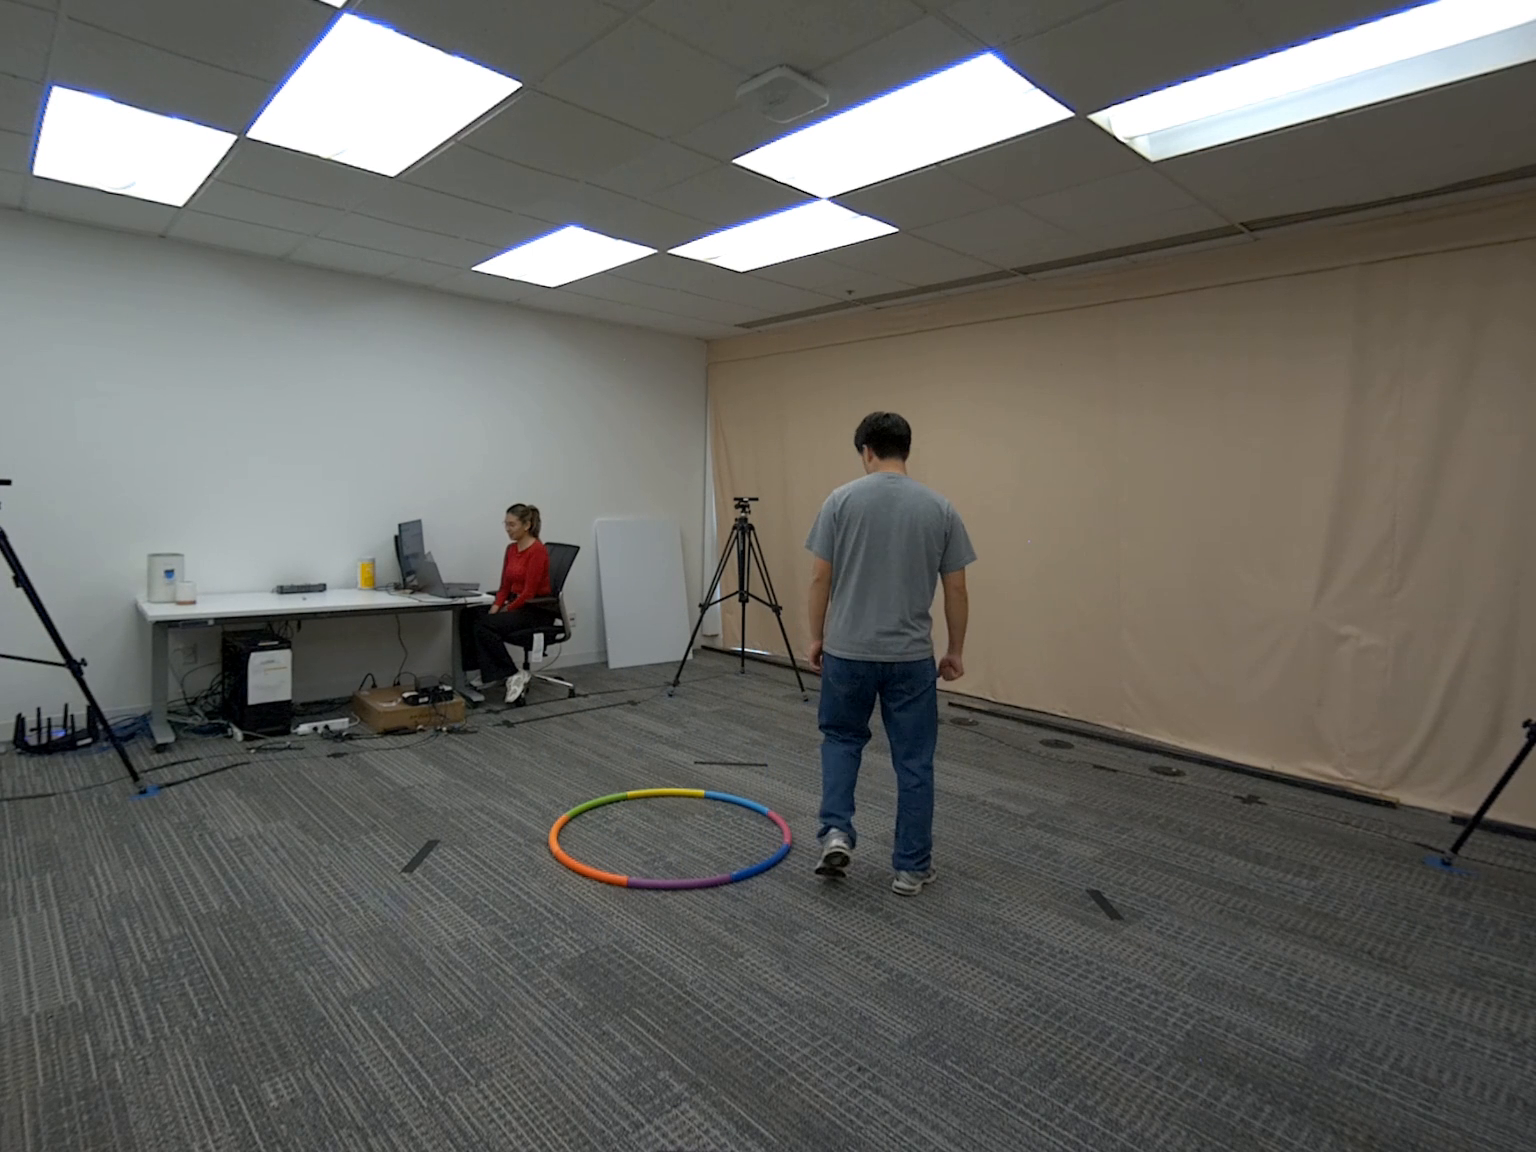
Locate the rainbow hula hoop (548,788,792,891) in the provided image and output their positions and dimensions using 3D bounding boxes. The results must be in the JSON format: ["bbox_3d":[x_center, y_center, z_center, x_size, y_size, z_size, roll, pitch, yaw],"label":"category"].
[{"bbox_3d":[-0.408,1.039,3.465,0.978,0.035,0.982,1,5,-1],"label":"rainbow hula hoop"}]
